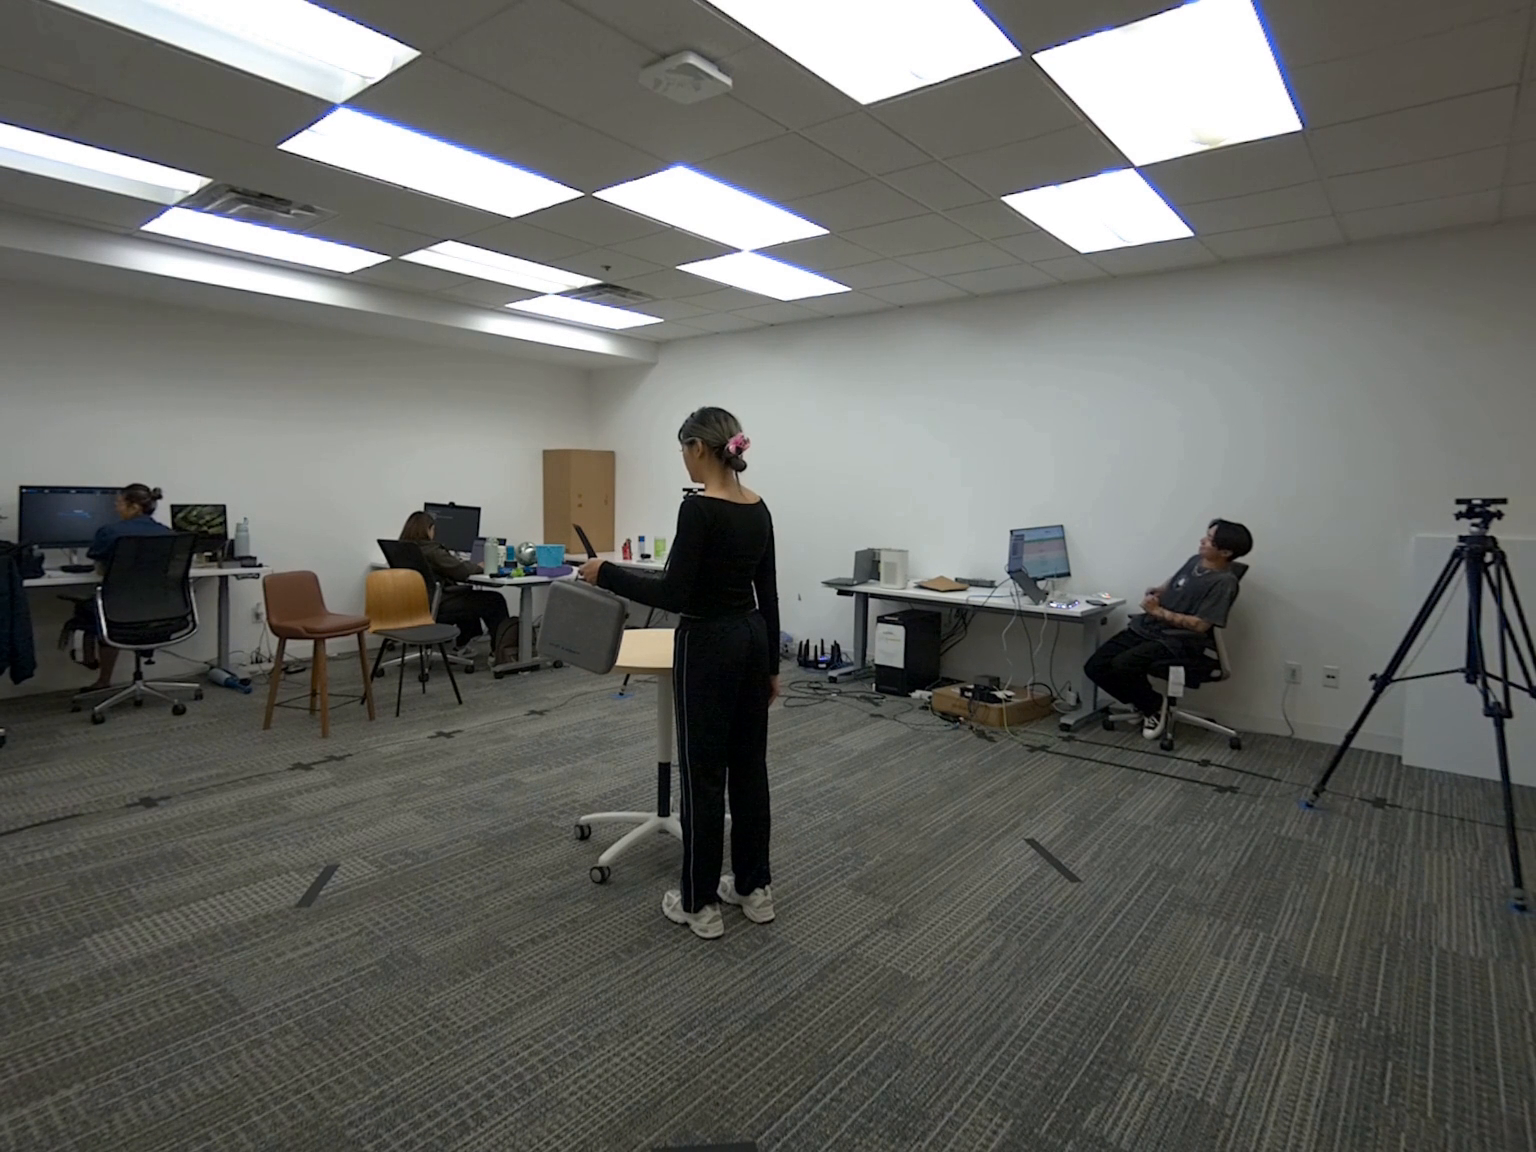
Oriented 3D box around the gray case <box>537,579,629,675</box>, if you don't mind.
[{"bbox_3d":[-0.595,0.146,2.671,0.261,0.258,0.103,18,14,12],"label":"gray case"}]
